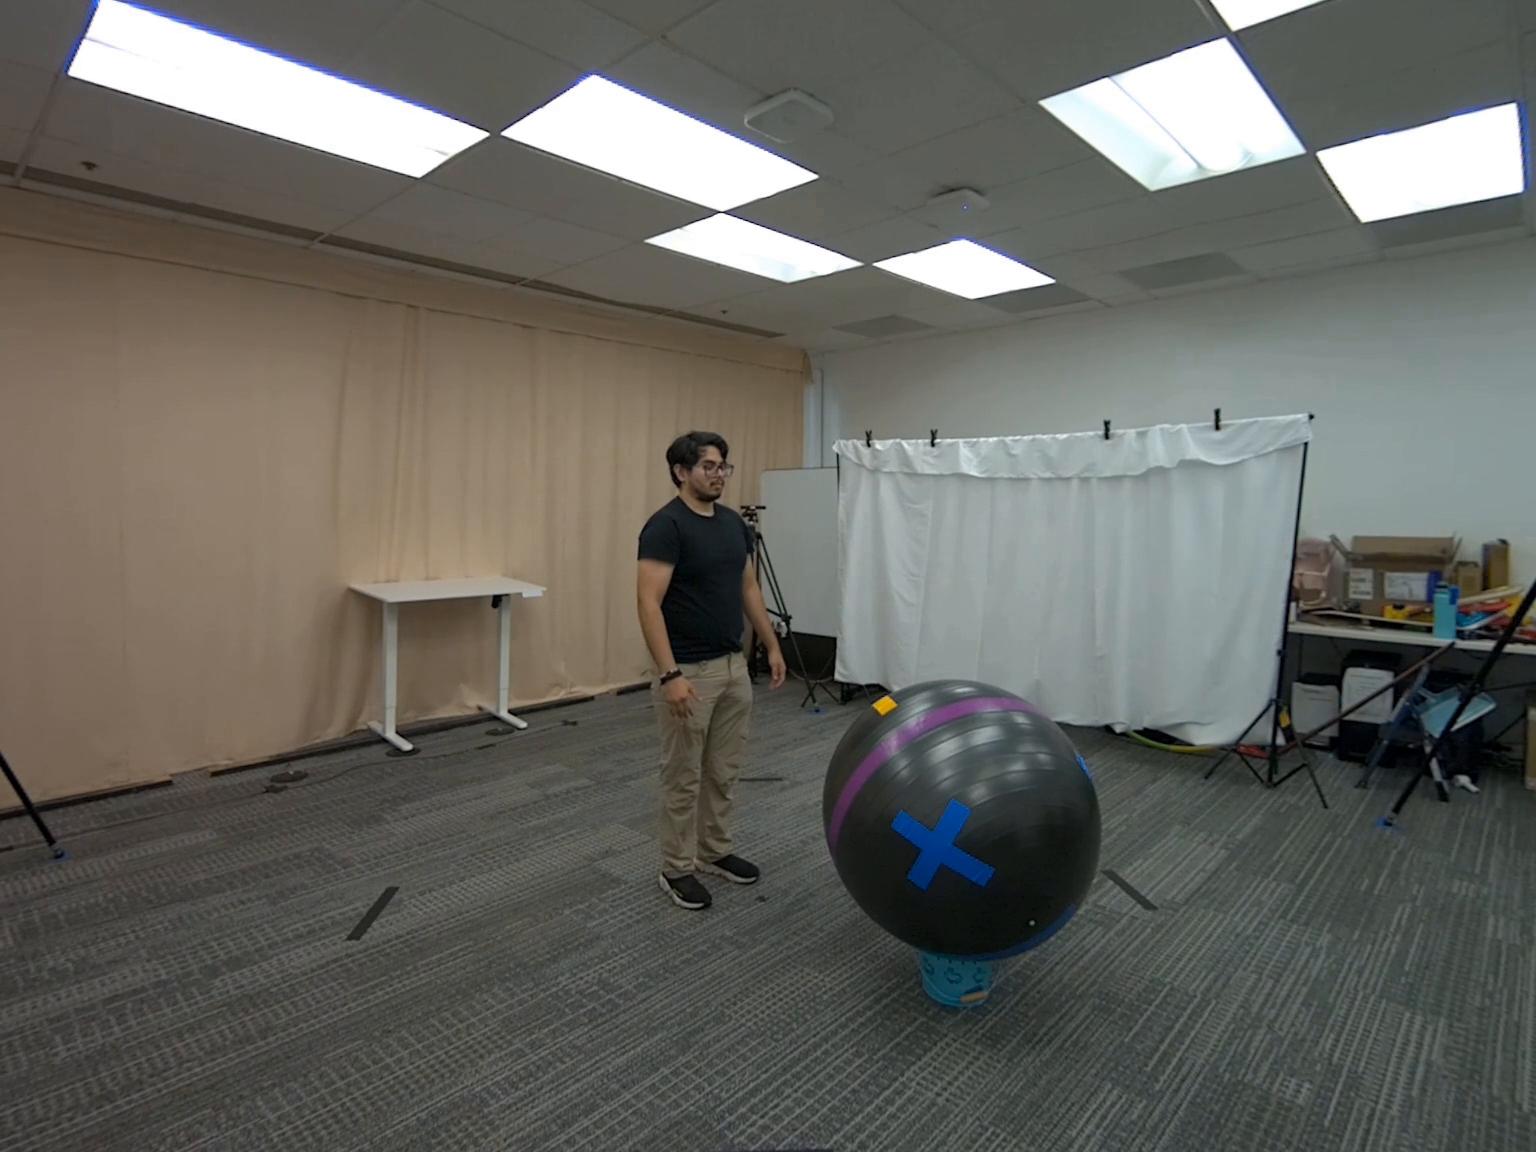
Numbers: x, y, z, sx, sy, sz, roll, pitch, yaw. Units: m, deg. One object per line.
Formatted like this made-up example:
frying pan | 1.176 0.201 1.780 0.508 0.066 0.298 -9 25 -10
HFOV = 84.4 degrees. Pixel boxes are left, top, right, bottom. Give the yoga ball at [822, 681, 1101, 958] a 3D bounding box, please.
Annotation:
yoga ball | 0.541 0.680 2.406 0.757 0.756 0.760 0 4 -2
